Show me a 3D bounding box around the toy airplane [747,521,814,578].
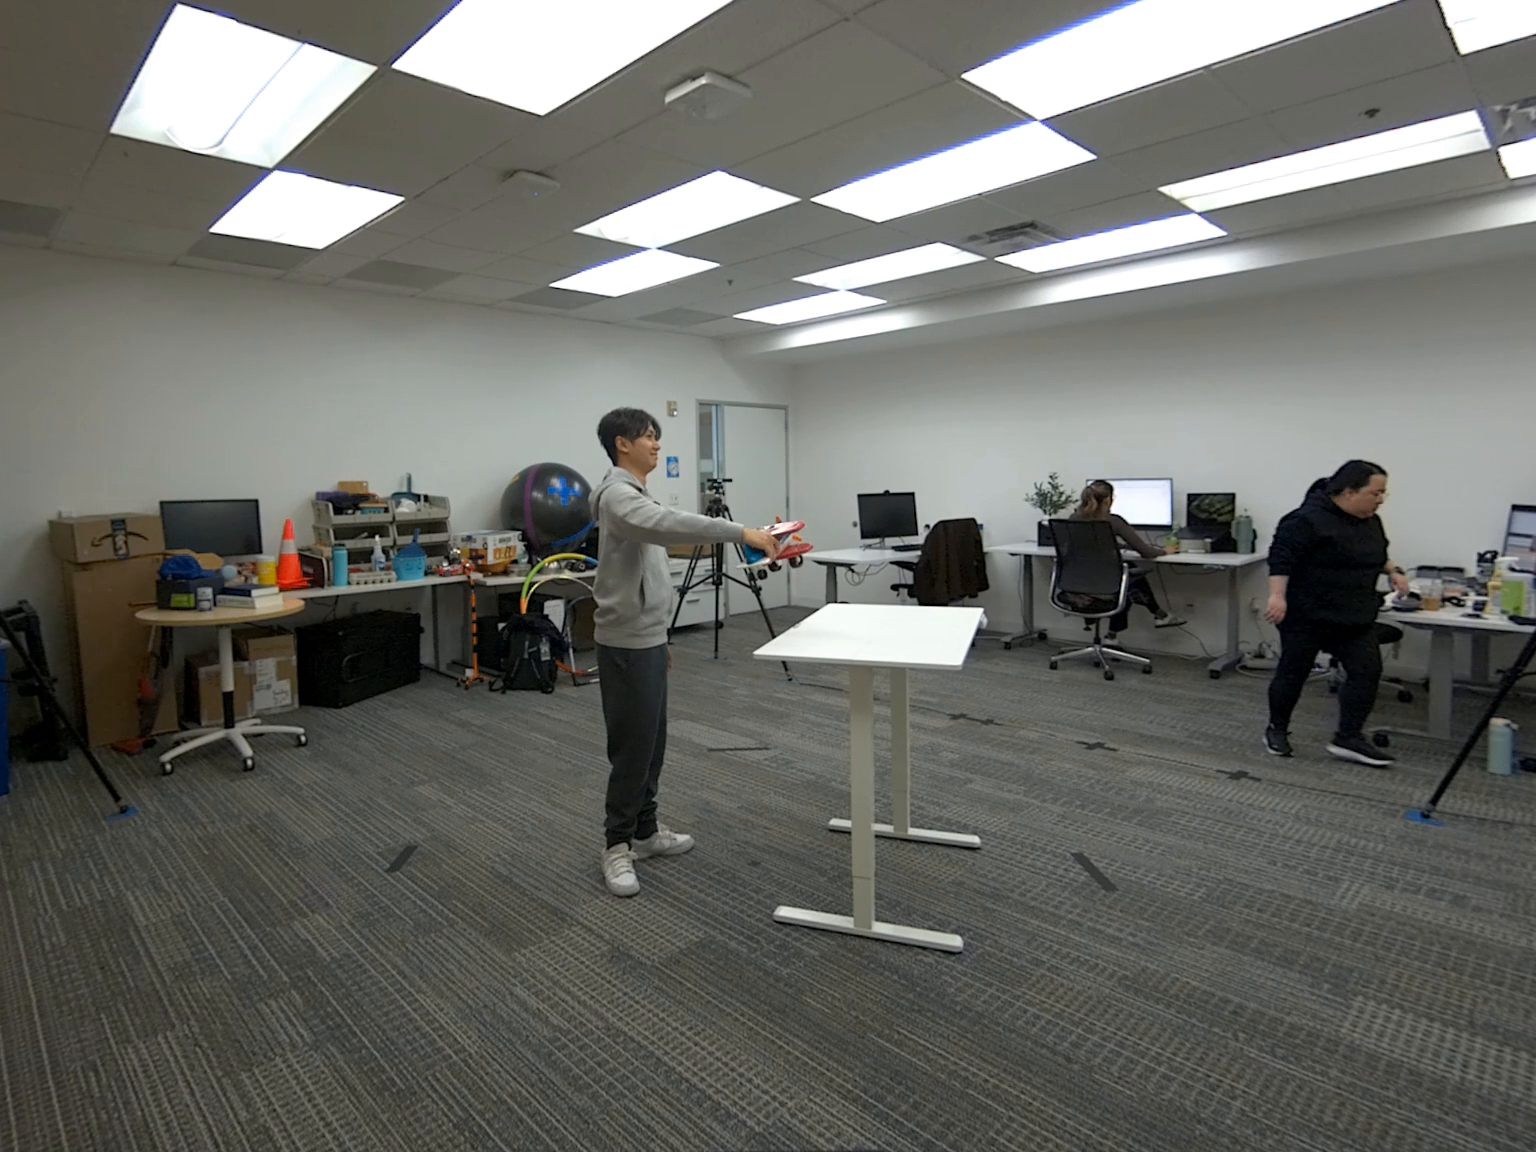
[{"bbox_3d":[0.022,-0.092,2.758,0.252,0.156,0.258,-12,3,7],"label":"toy airplane"}]
